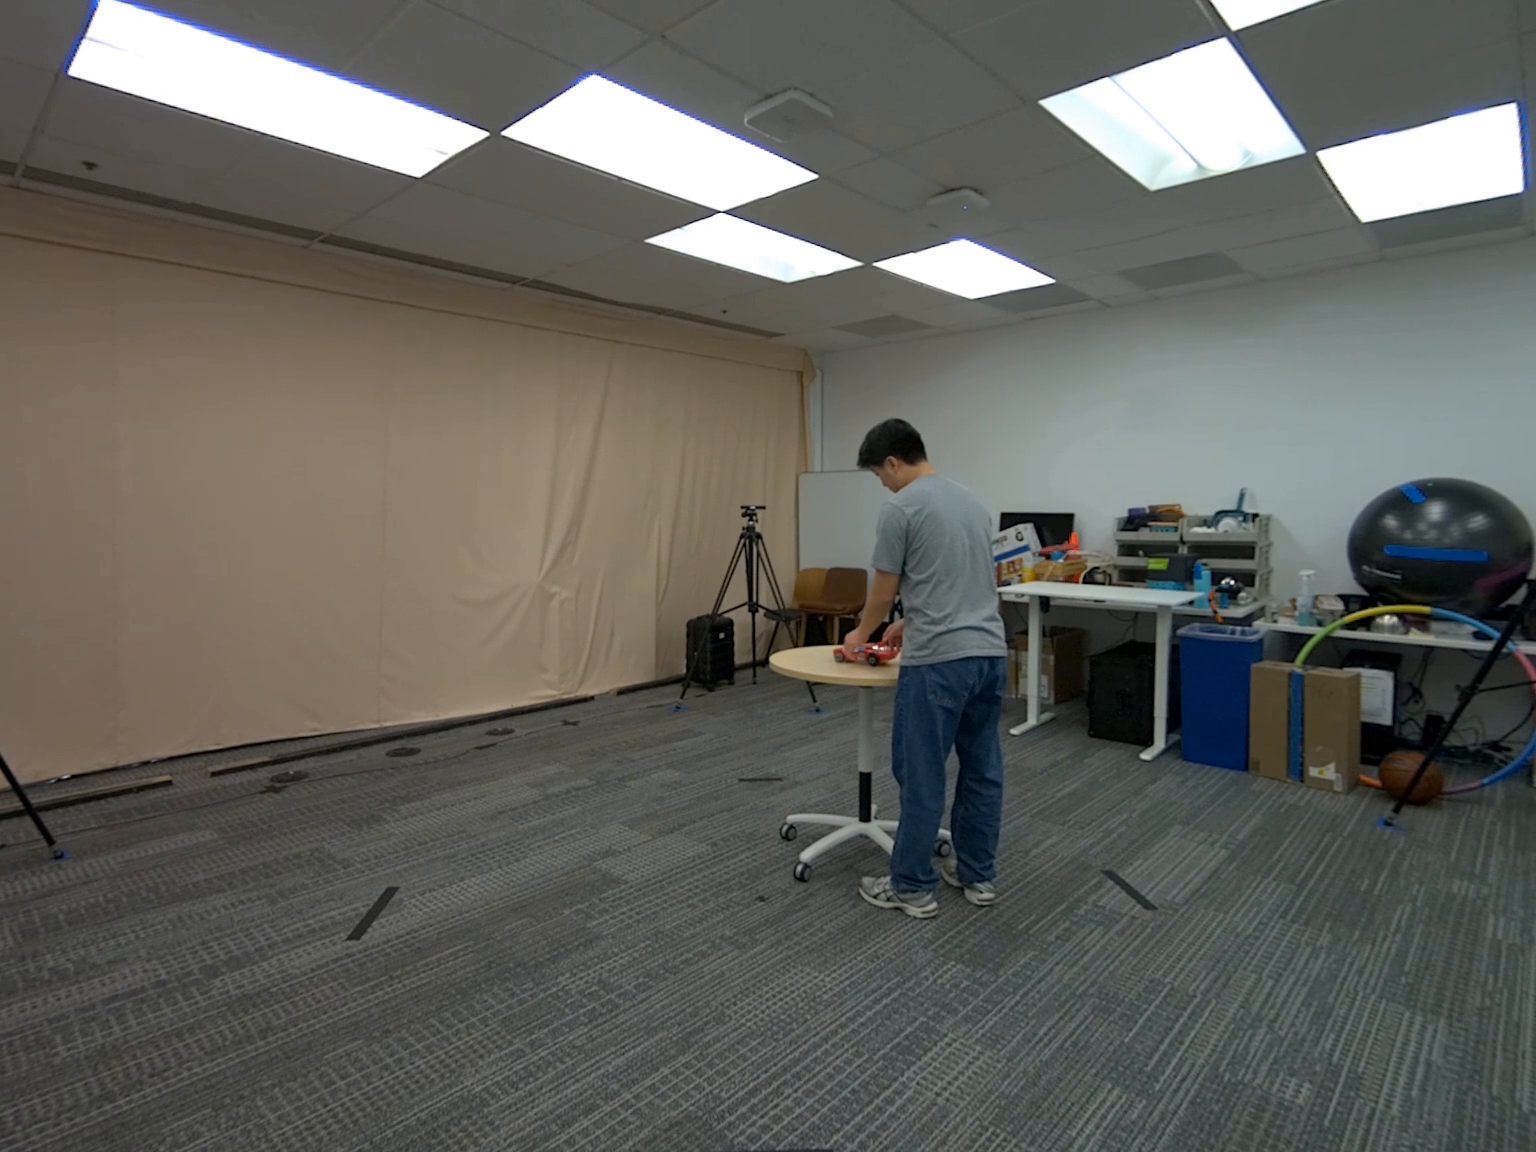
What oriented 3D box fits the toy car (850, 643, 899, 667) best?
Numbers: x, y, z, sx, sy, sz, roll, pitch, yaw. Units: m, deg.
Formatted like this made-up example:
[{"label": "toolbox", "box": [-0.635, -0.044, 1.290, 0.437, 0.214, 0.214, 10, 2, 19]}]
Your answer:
[{"label": "toy car", "box": [0.389, 0.308, 3.252, 0.261, 0.083, 0.126, -9, -2, 35]}]
